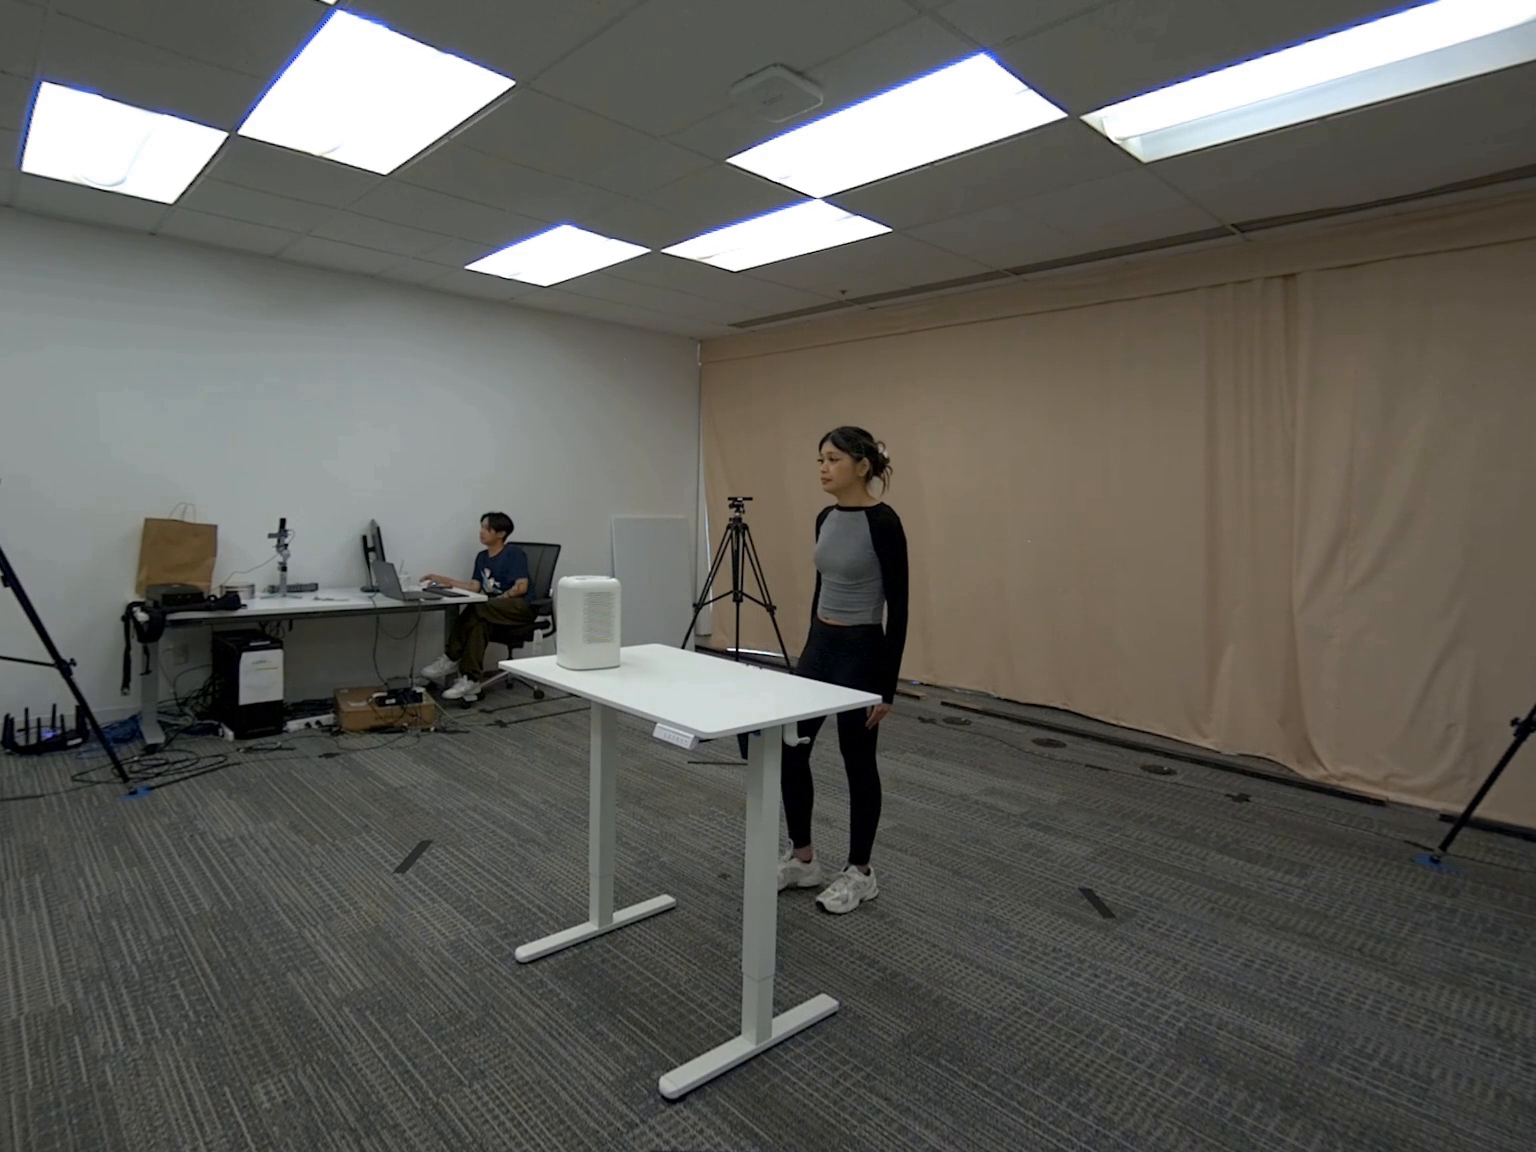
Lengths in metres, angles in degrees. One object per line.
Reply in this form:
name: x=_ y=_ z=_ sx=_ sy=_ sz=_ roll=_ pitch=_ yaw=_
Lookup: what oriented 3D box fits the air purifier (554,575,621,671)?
air purifier: x=-0.550 y=0.137 z=2.534 sx=0.168 sy=0.265 sz=0.175 roll=1 pitch=2 yaw=-32
